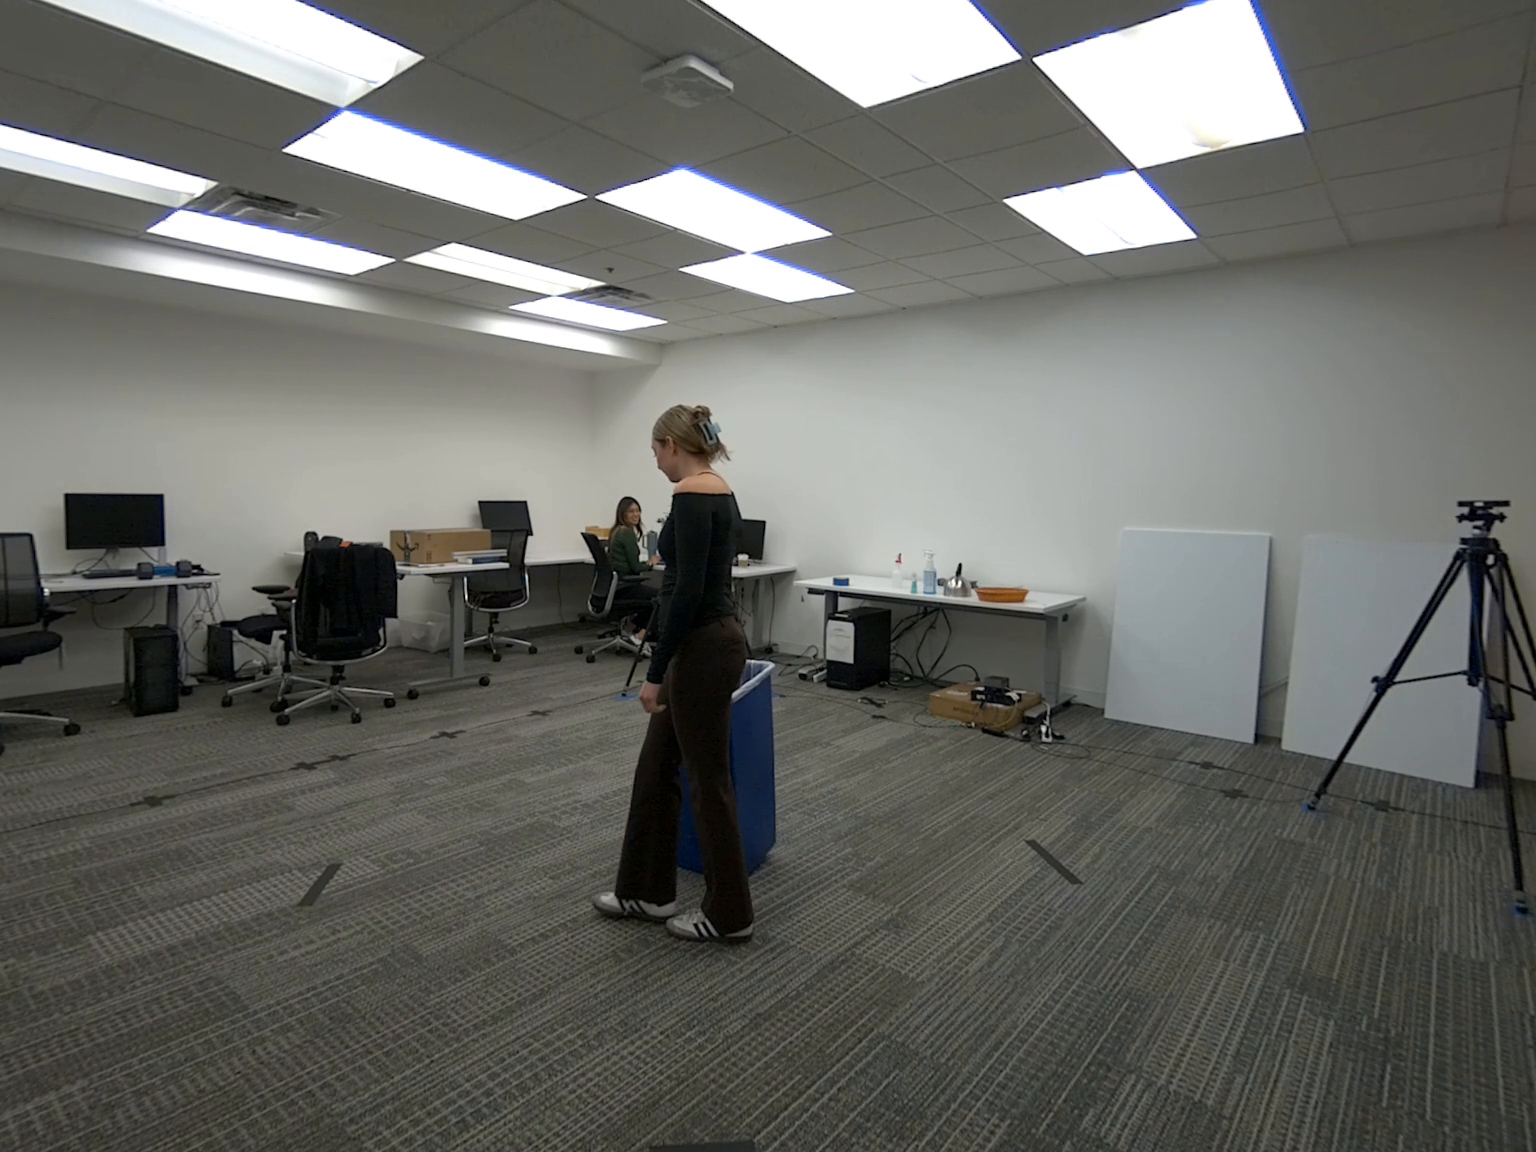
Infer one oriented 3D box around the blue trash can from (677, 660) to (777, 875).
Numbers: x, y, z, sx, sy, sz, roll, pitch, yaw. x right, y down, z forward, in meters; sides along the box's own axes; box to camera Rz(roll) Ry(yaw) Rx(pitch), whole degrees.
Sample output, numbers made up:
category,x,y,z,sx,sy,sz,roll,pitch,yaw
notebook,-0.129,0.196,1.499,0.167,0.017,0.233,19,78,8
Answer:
category,x,y,z,sx,sy,sz,roll,pitch,yaw
blue trash can,-0.199,0.695,3.123,0.389,0.706,0.368,2,12,28
